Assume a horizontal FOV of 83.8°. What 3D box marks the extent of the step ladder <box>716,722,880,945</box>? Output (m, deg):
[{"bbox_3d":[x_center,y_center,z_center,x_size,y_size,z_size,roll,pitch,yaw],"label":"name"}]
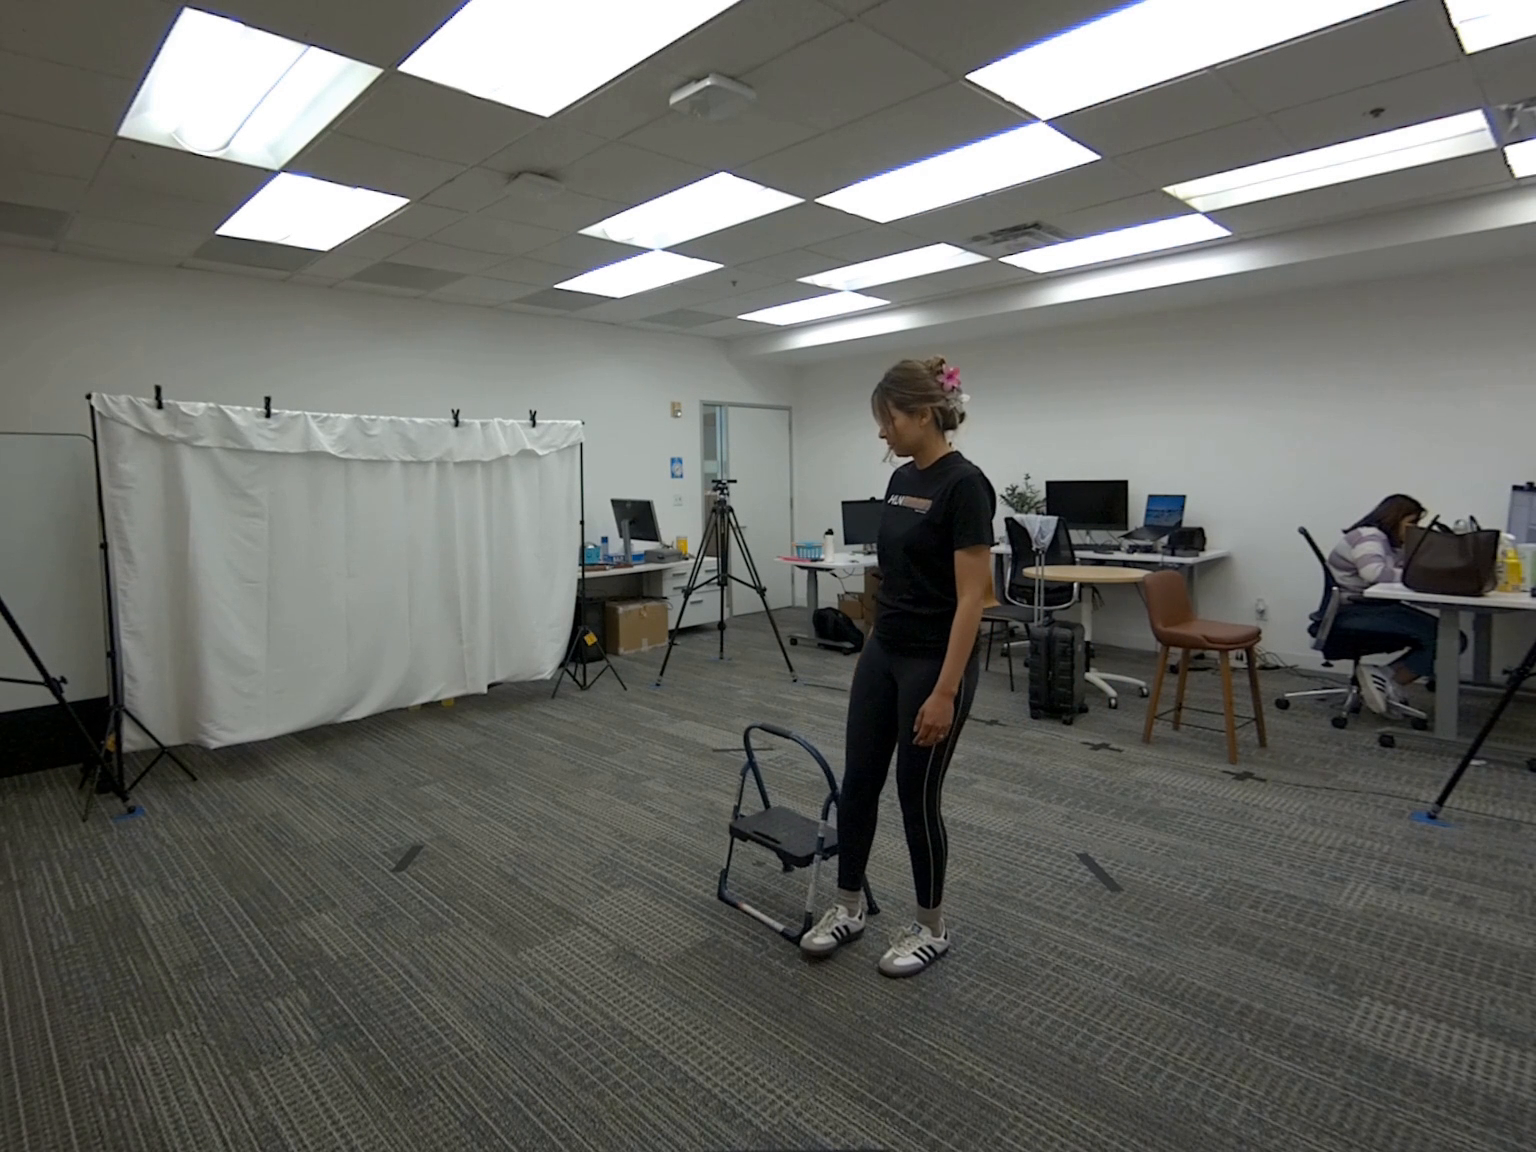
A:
[{"bbox_3d":[0.089,0.778,2.787,0.340,0.604,0.444,-5,6,-41],"label":"step ladder"}]
